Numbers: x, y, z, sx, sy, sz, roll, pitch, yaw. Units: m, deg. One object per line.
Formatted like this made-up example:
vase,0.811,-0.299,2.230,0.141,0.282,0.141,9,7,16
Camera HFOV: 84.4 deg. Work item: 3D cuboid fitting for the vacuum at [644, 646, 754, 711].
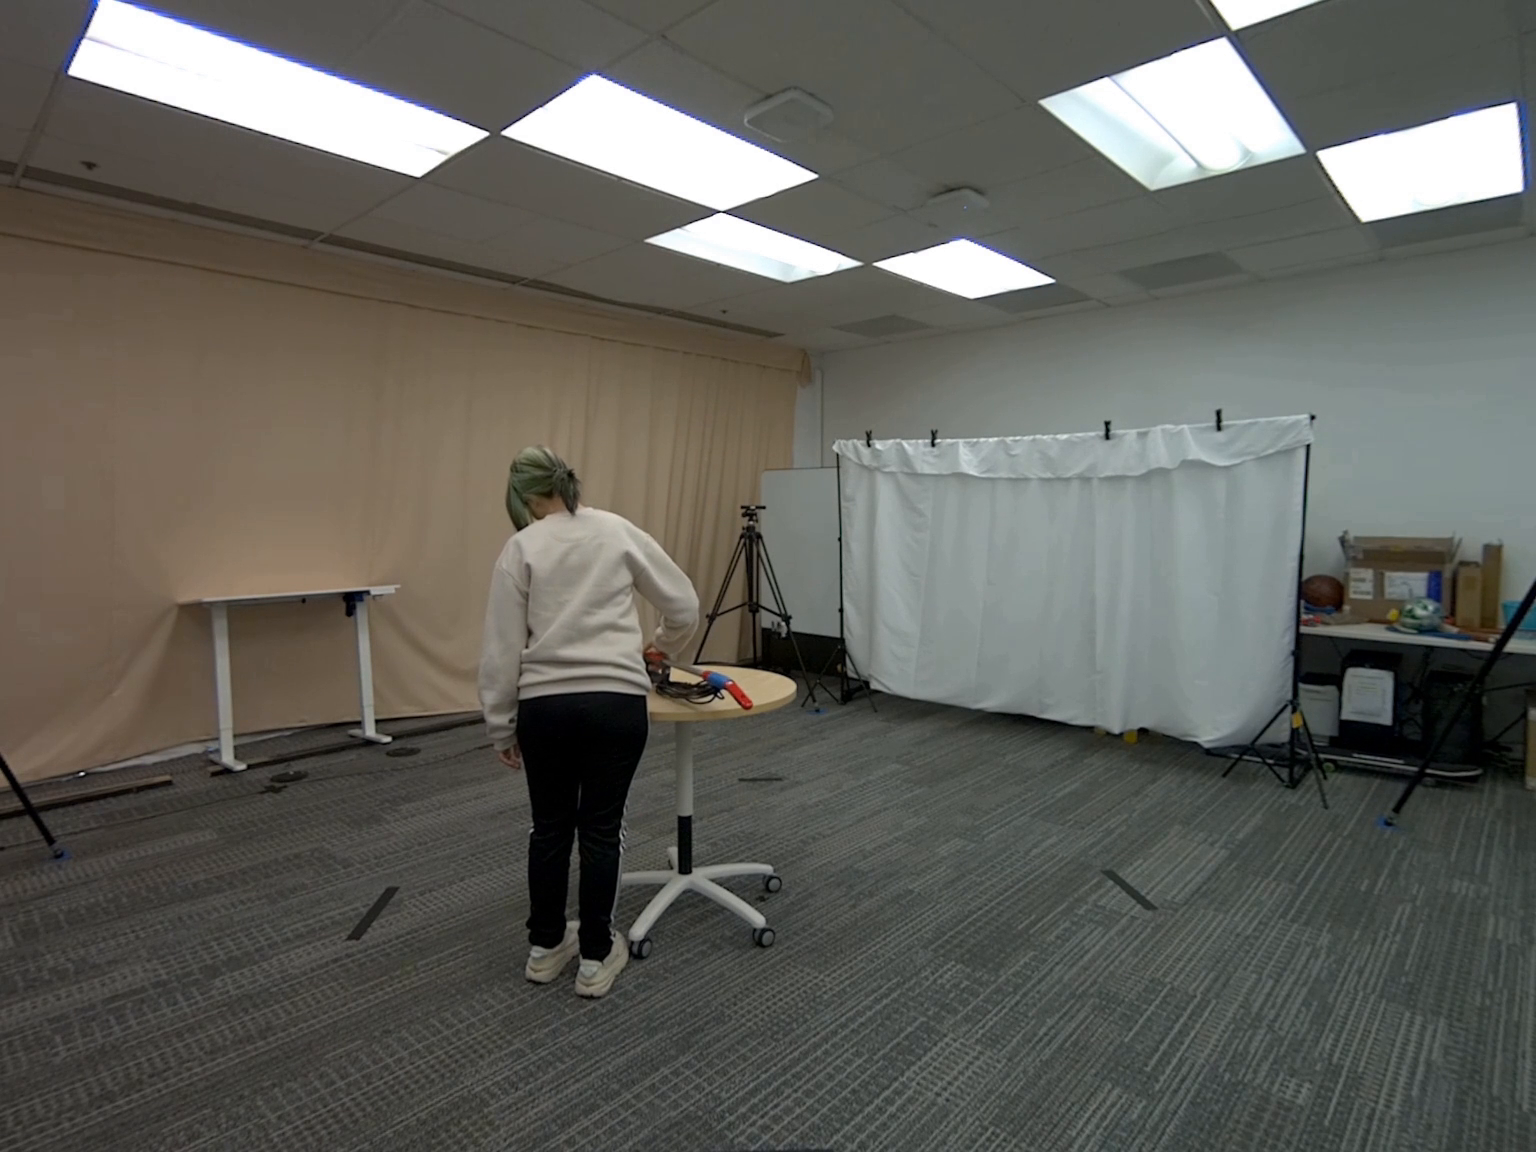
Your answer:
vacuum,-0.324,0.342,2.711,0.247,0.143,1.077,-11,8,-27
